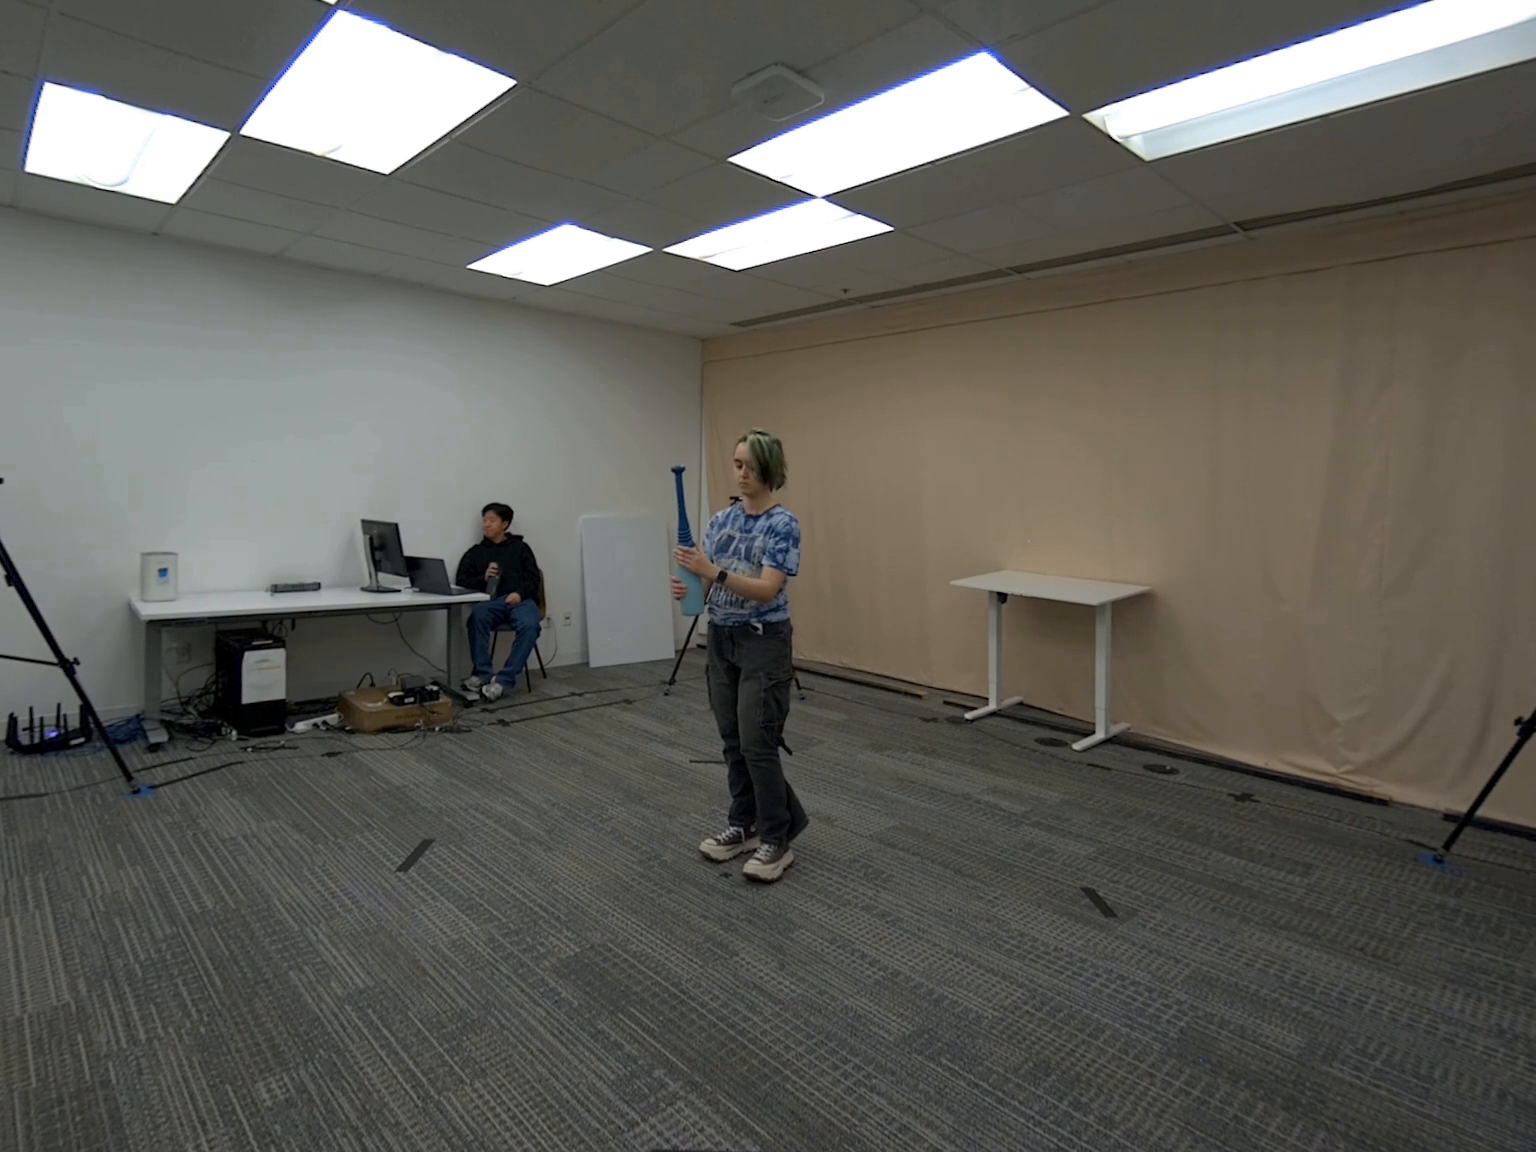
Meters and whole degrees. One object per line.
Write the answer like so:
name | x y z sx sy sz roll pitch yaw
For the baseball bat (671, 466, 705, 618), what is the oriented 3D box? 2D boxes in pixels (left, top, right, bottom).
baseball bat | -0.293 -0.125 2.990 0.089 0.538 0.090 -5 12 0
